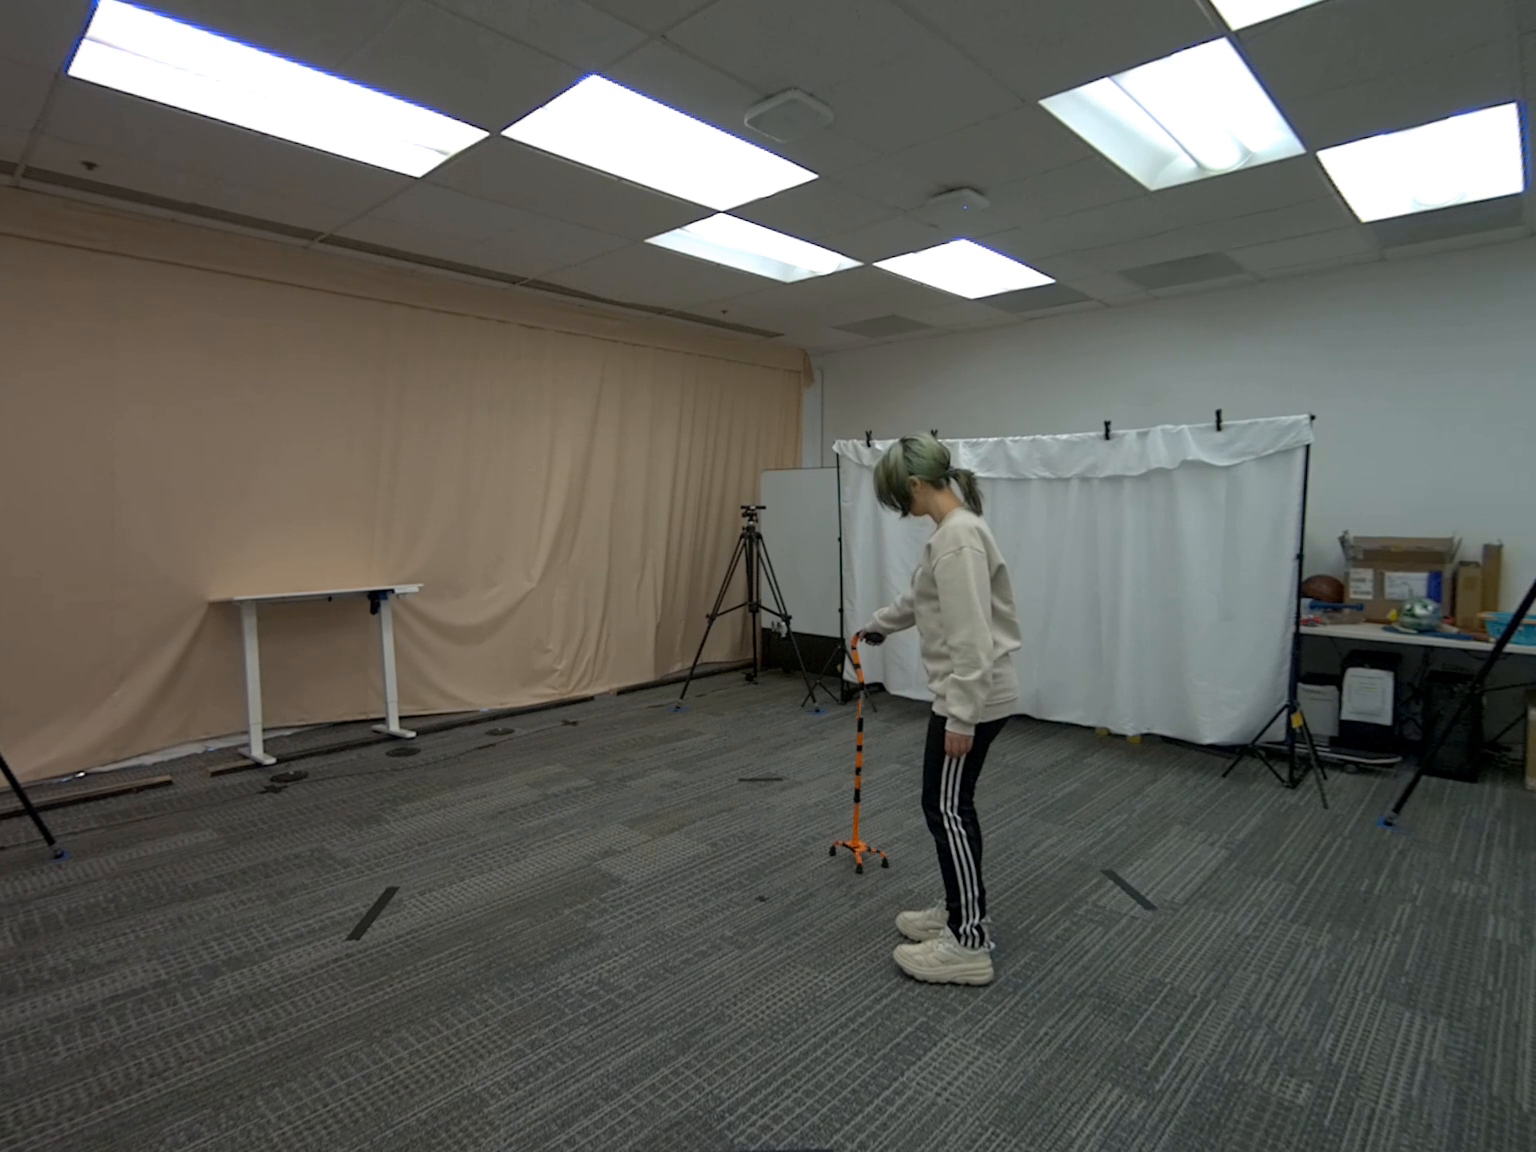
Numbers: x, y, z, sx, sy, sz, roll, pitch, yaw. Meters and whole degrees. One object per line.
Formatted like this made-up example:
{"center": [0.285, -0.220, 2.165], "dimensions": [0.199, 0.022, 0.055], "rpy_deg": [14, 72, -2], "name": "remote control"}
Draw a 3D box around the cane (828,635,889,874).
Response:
{"center": [0.375, 0.664, 3.258], "dimensions": [0.148, 0.905, 0.212], "rpy_deg": [-1, 5, -28], "name": "cane"}
